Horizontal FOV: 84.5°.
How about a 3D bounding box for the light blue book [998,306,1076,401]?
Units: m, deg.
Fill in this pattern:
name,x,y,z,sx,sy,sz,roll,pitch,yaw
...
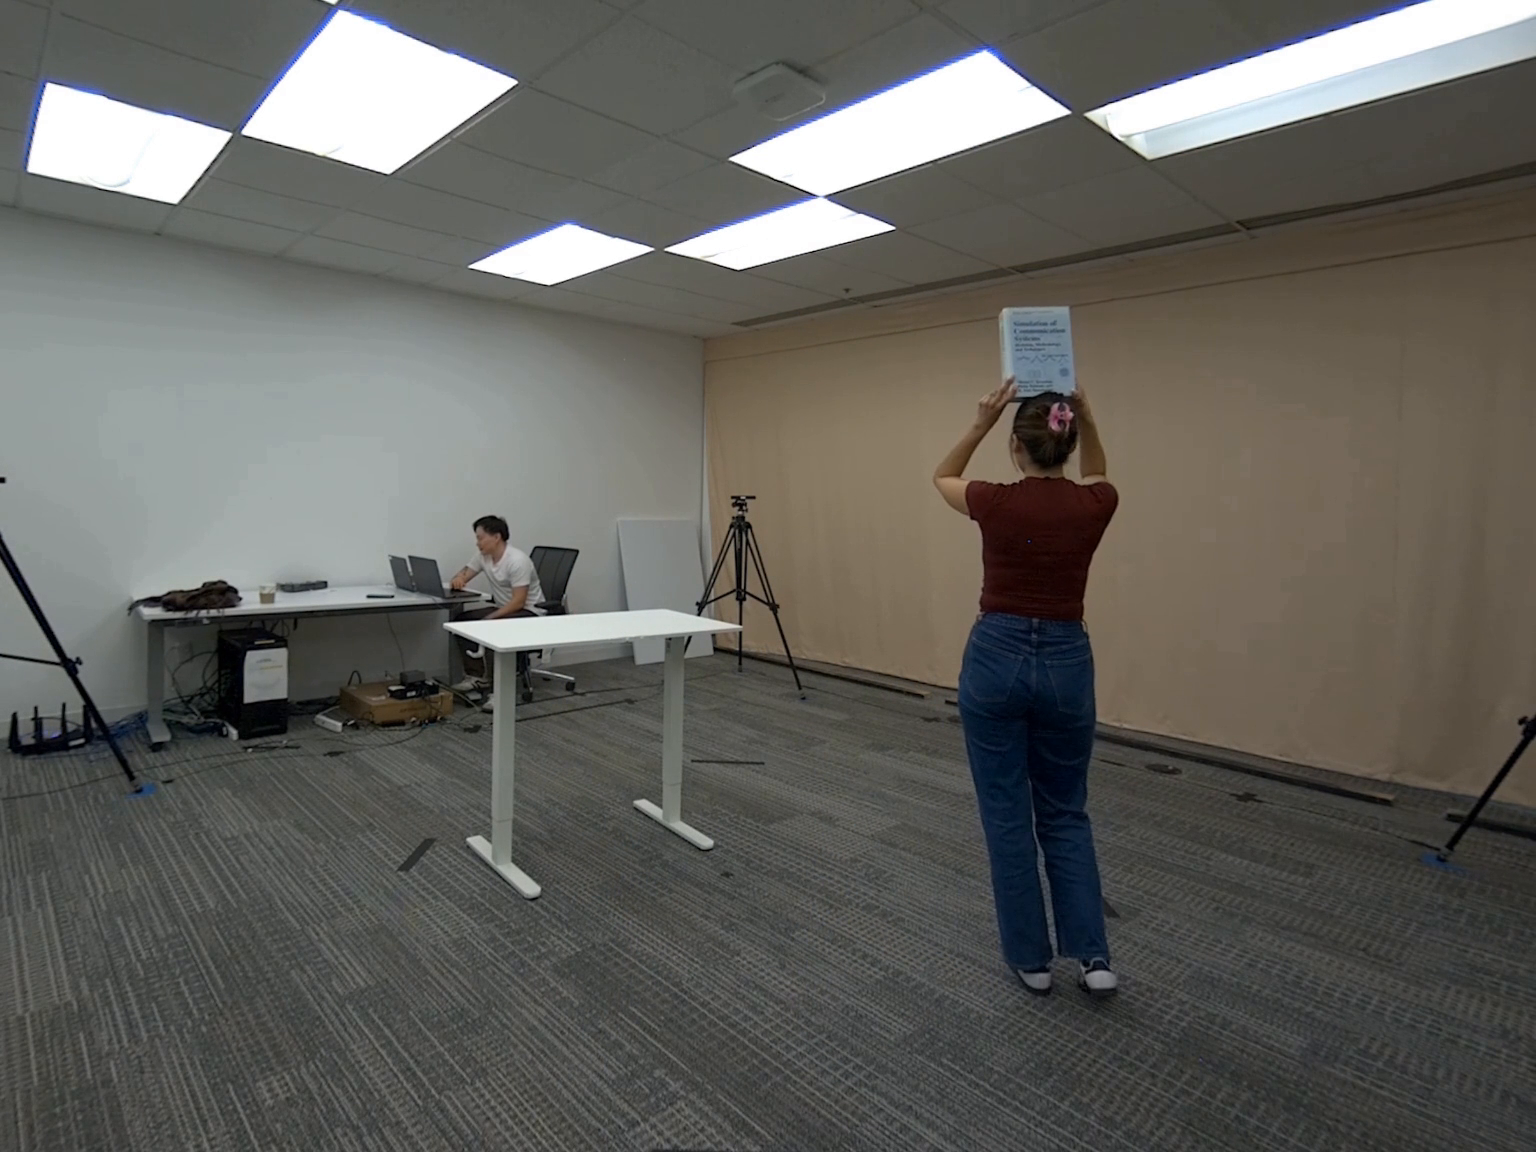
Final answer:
name,x,y,z,sx,sy,sz,roll,pitch,yaw
light blue book,0.763,-0.628,2.402,0.191,0.262,0.059,-1,-5,-1
